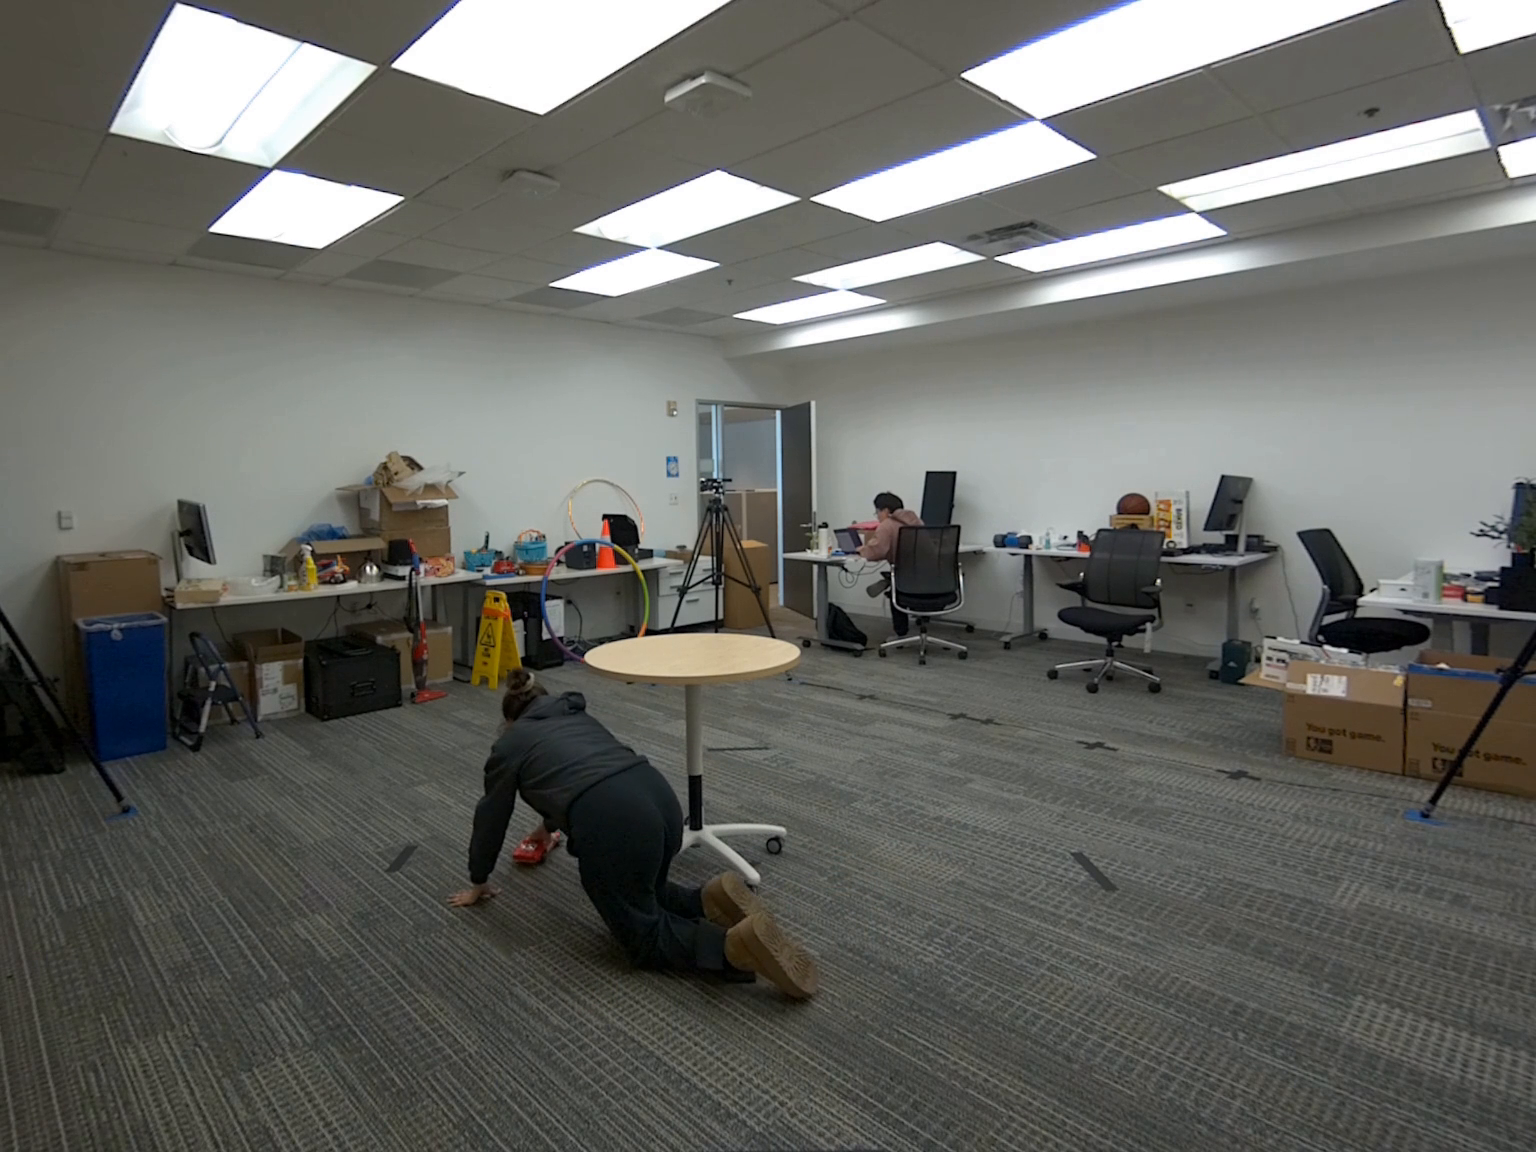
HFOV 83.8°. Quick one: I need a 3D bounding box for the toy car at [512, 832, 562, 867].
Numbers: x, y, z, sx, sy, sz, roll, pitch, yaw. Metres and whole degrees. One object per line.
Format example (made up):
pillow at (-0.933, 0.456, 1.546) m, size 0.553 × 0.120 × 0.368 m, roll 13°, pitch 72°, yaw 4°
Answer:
toy car at (-0.859, 1.016, 3.203) m, size 0.131 × 0.084 × 0.250 m, roll 0°, pitch -7°, yaw 9°
